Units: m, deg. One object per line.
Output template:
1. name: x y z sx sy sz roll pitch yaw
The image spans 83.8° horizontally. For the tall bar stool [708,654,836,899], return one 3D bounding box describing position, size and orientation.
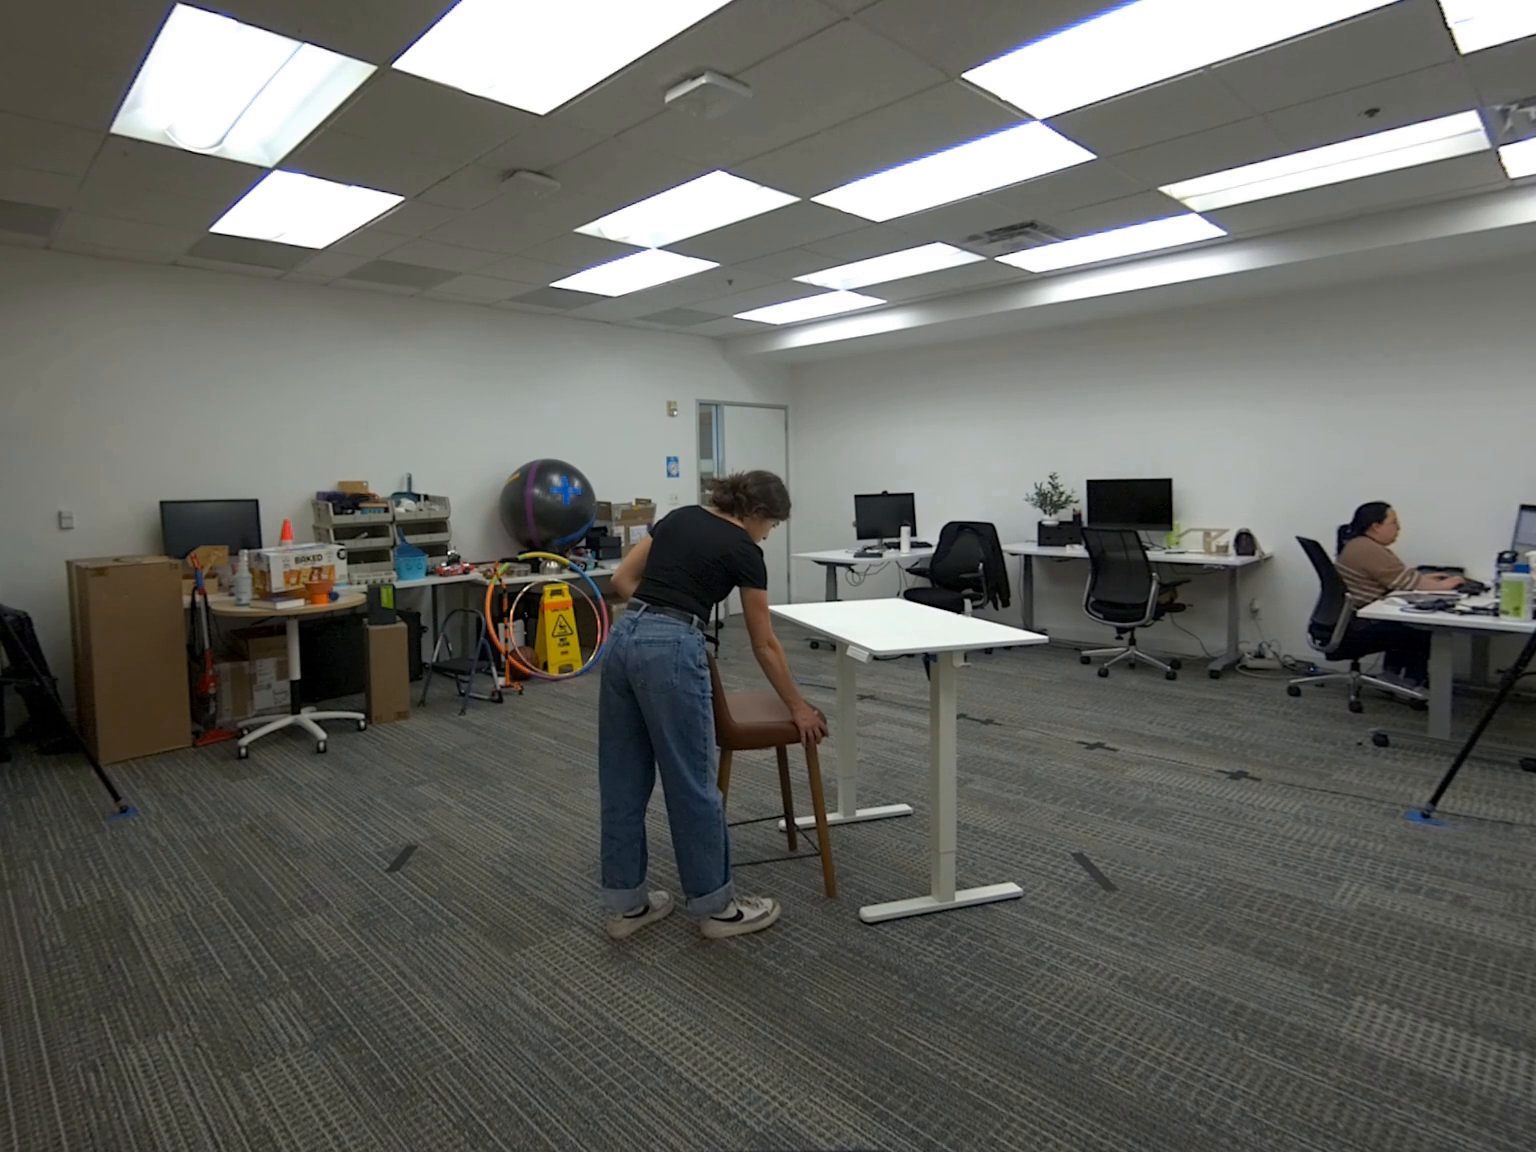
1. tall bar stool: -0.059 0.626 2.953 0.461 0.886 0.465 -4 5 -16
